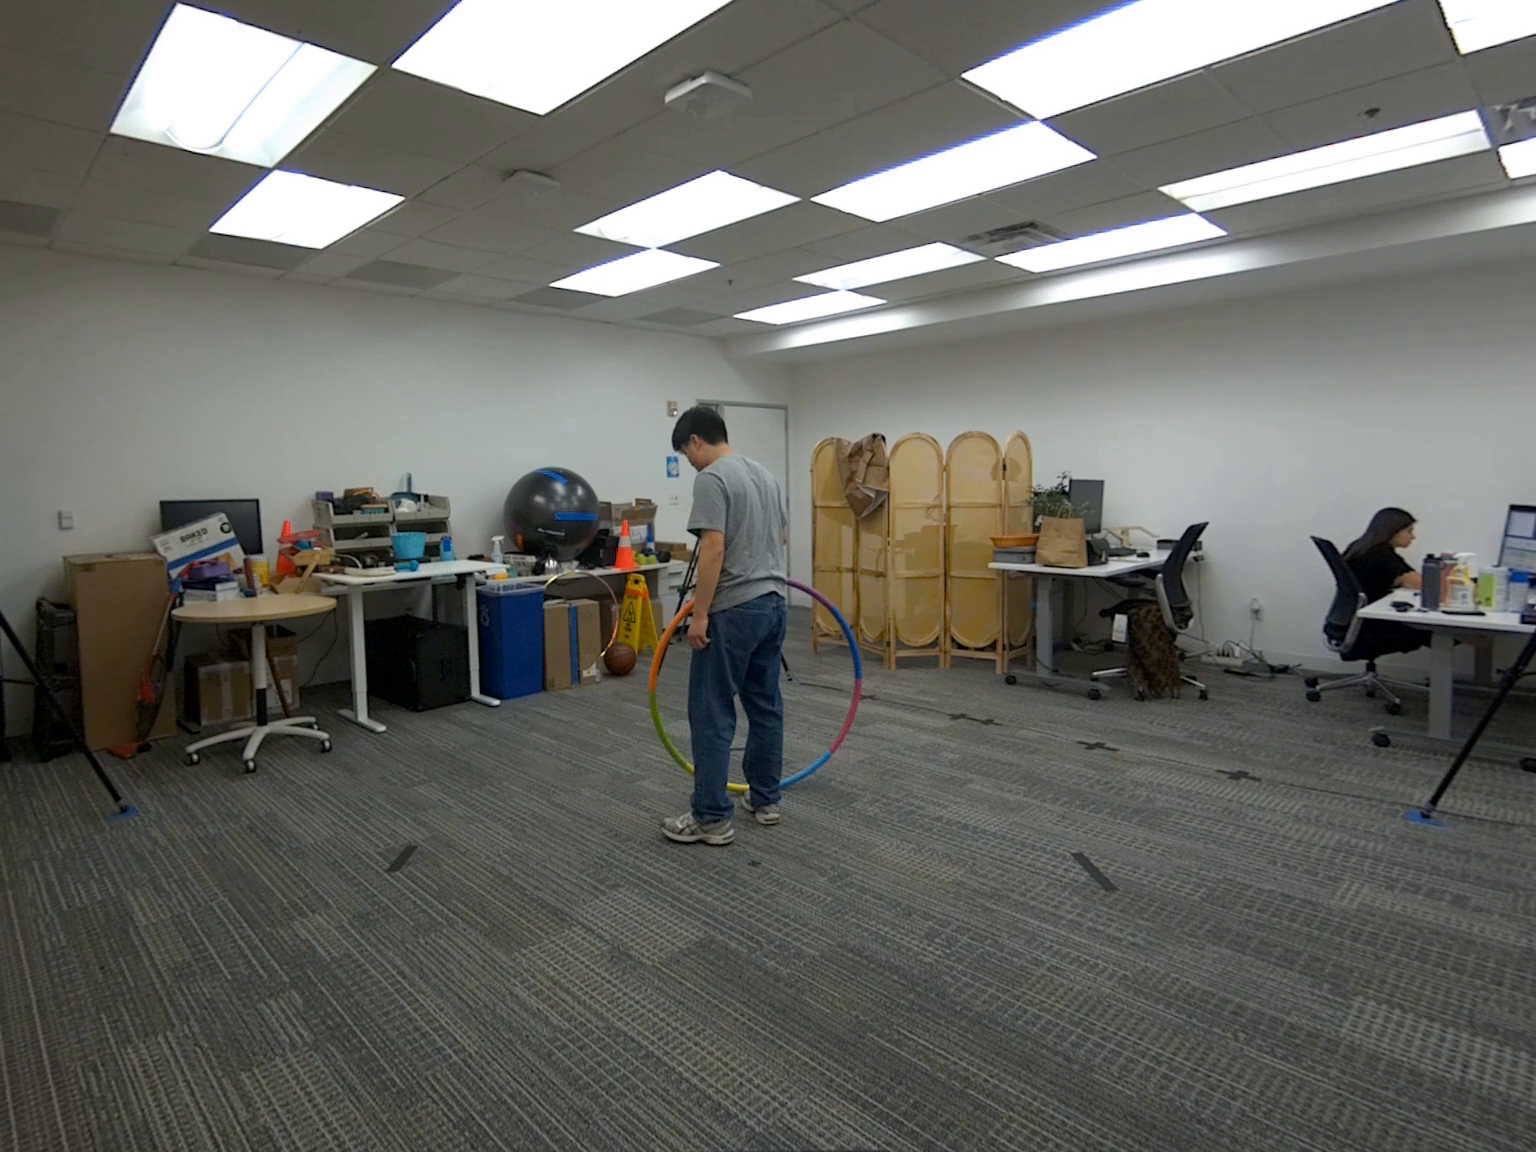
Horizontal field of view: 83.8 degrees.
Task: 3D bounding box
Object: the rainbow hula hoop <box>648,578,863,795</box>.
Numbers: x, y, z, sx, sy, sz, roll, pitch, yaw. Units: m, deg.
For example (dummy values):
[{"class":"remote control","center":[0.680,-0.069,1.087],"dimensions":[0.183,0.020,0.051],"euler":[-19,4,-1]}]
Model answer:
[{"class":"rainbow hula hoop","center":[-0.037,0.480,3.784],"dimensions":[0.964,0.976,0.036],"euler":[-2,3,-16]}]
